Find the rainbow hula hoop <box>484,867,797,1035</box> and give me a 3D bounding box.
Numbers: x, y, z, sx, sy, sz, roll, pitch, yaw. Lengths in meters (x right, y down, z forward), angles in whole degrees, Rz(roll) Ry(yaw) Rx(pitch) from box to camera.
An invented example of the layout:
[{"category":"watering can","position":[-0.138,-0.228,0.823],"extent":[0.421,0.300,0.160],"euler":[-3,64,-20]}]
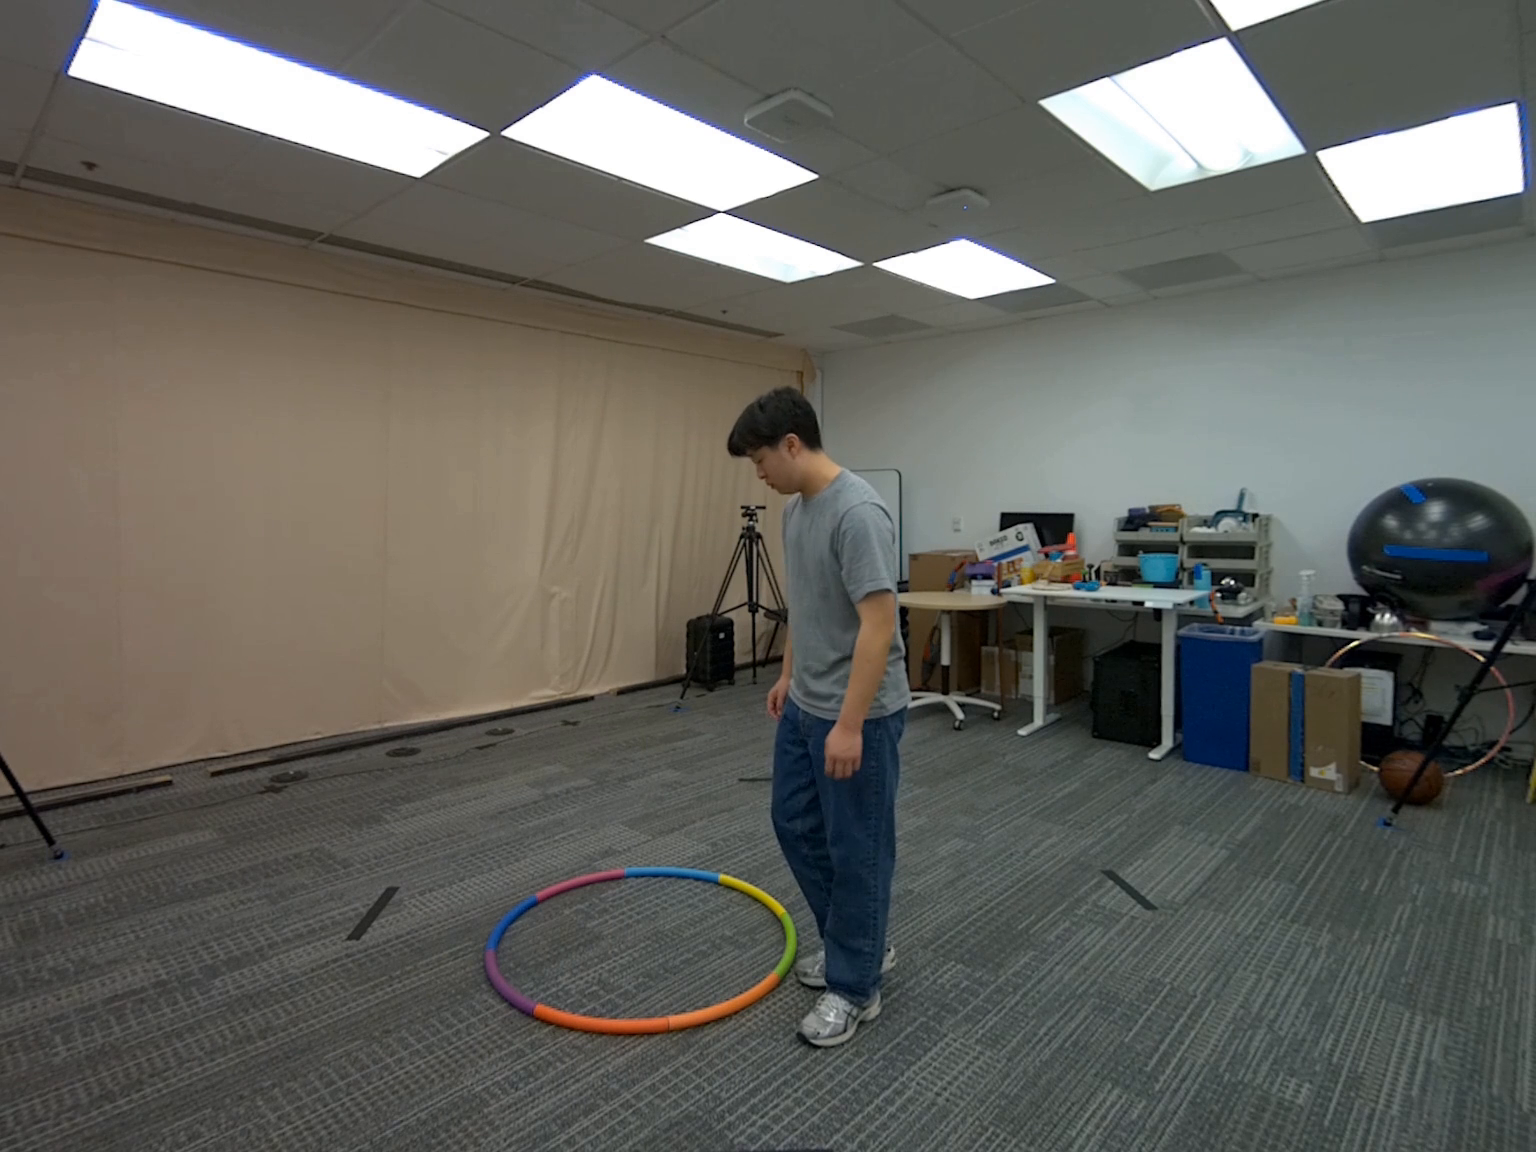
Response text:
[{"category":"rainbow hula hoop","position":[-0.396,1.142,2.705],"extent":[0.978,0.035,0.982],"euler":[-1,4,-2]}]
